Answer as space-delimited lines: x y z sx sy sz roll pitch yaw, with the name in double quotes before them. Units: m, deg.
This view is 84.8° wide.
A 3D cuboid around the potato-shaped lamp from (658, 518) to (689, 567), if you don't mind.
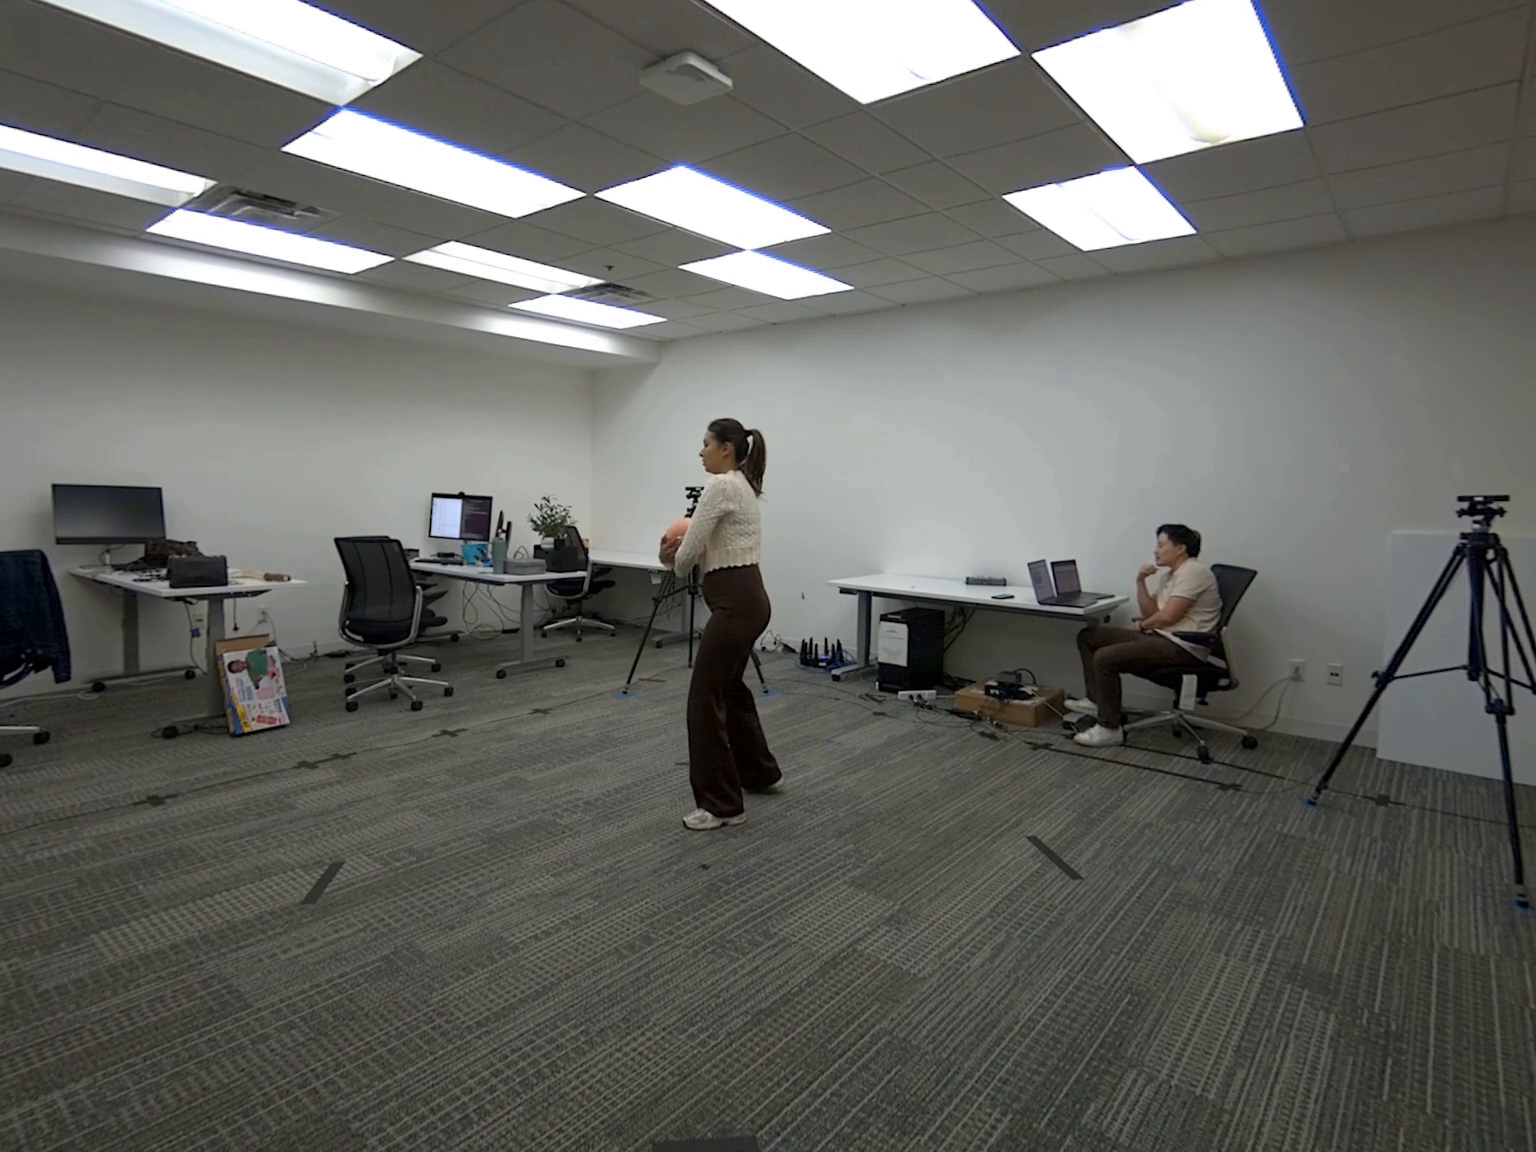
"potato-shaped lamp" -0.363 -0.186 3.656 0.166 0.166 0.203 -21 30 9
